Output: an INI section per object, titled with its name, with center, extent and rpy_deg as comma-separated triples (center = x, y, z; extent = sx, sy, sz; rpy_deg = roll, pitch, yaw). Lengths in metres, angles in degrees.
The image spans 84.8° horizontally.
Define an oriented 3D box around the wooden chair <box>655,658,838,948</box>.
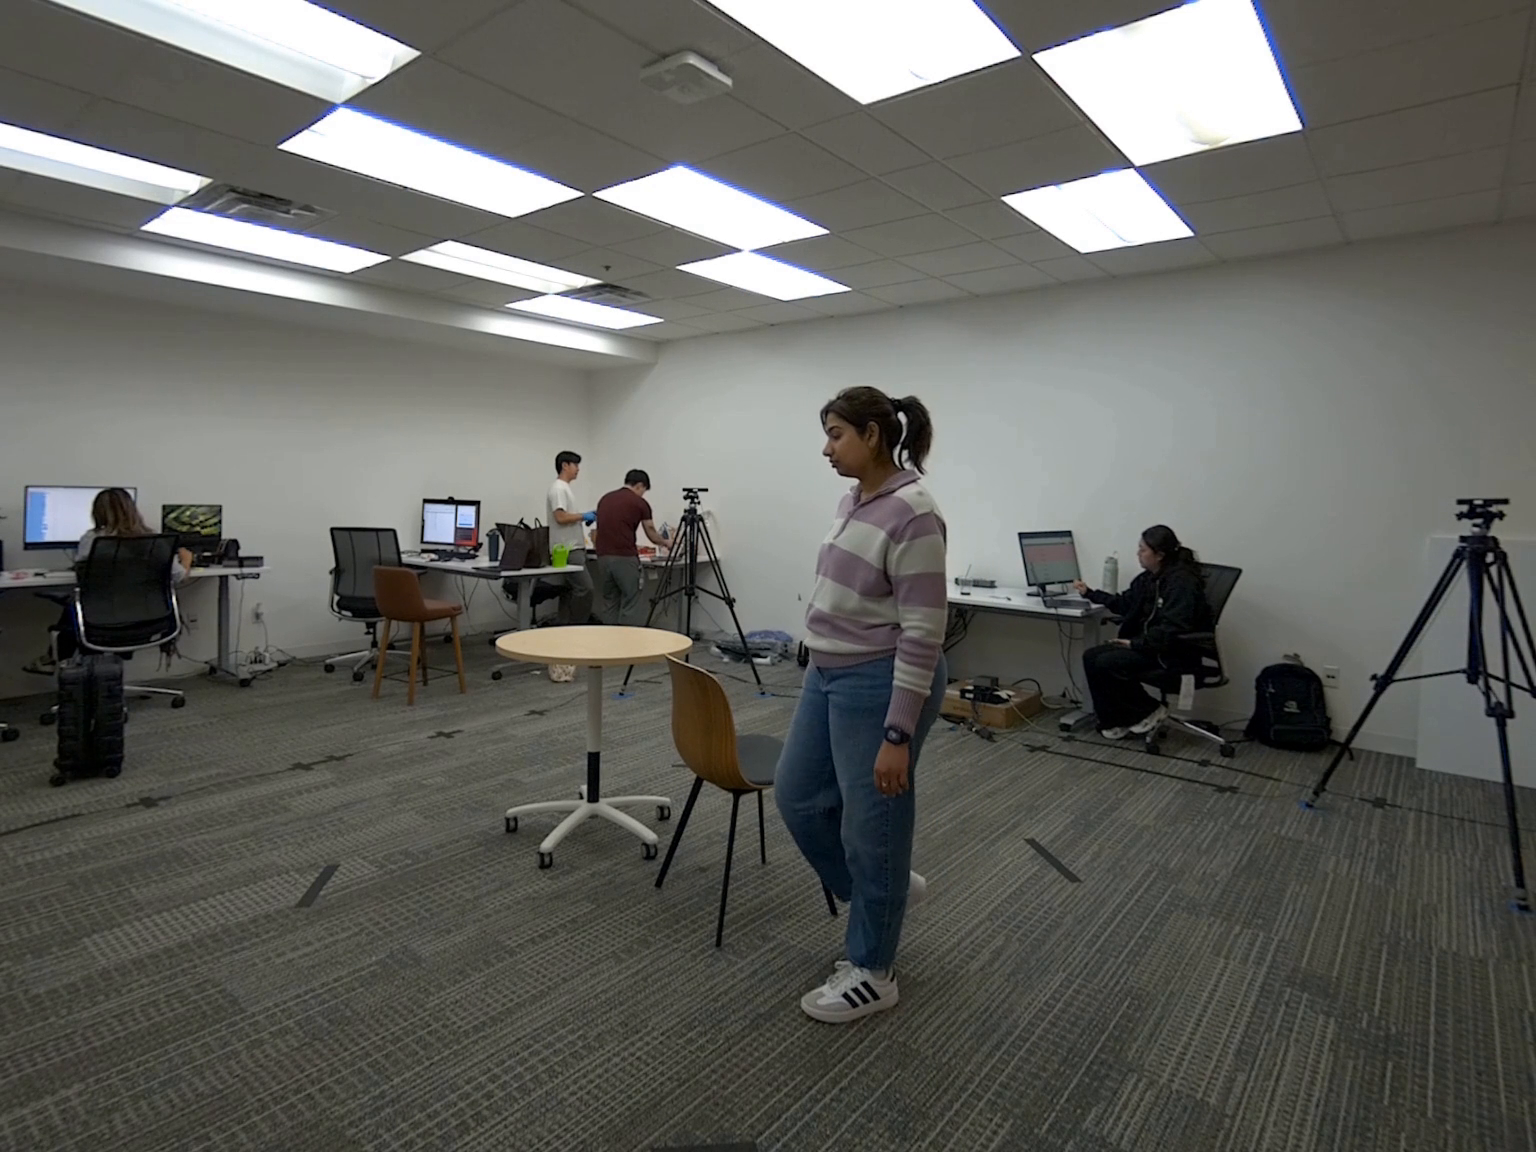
[wooden chair]
center = -0.075, 0.668, 2.853
extent = 0.510, 0.873, 0.493
rpy_deg = -5, 6, -31
